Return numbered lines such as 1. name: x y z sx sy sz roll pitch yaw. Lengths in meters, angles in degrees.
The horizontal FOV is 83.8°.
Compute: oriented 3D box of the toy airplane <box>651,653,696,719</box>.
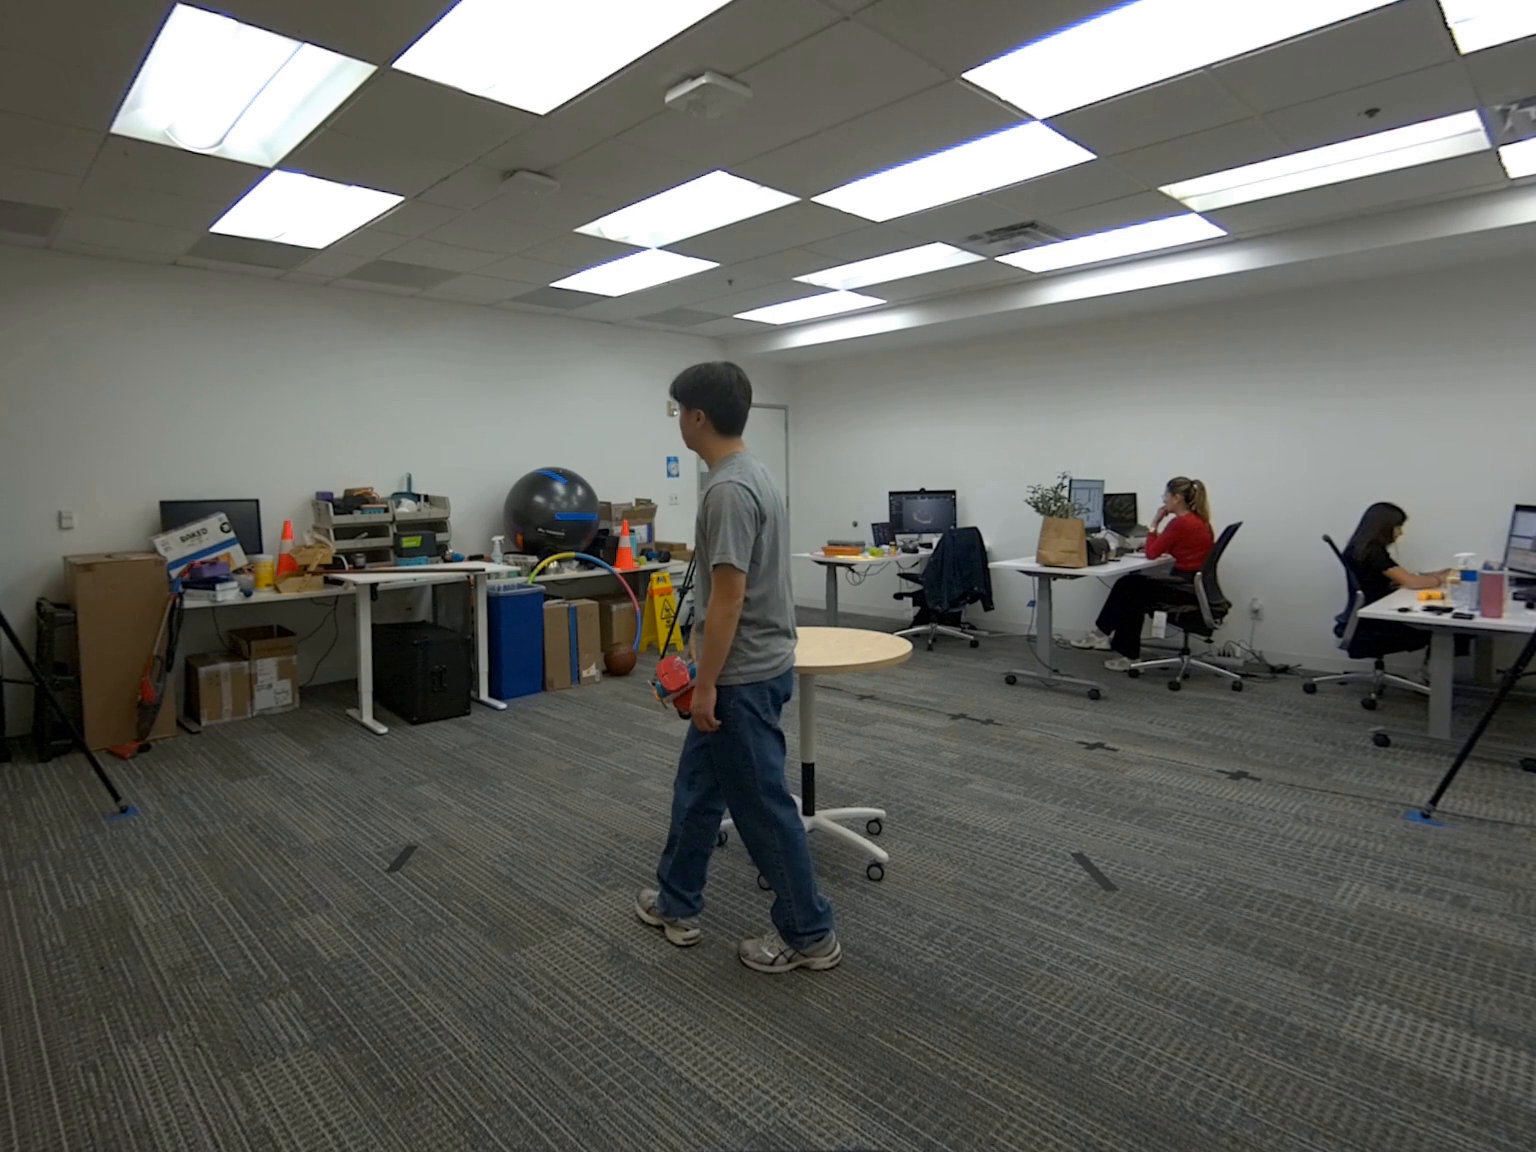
1. toy airplane: -0.257 0.329 2.818 0.256 0.153 0.260 -12 37 55
